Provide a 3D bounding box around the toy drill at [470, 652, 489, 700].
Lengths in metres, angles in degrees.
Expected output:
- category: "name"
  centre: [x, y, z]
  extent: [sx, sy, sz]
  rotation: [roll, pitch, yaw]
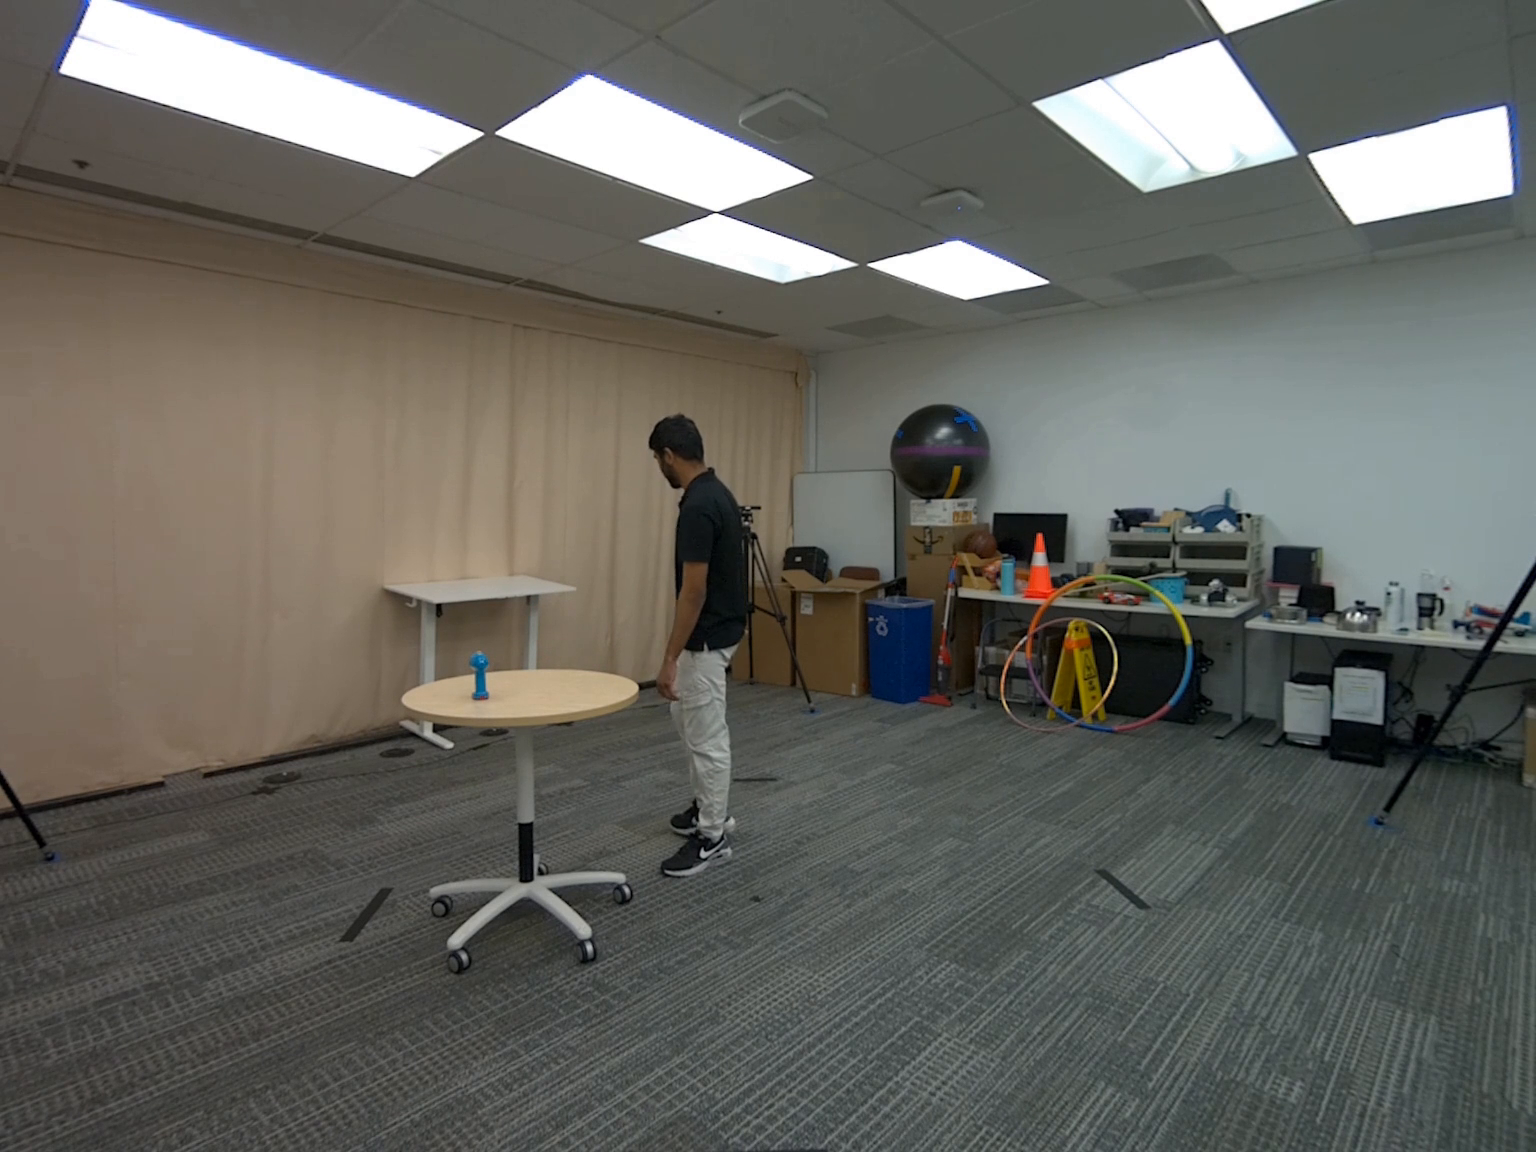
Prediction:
- category: "toy drill"
  centre: [-0.940, 0.317, 2.720]
  extent: [0.060, 0.146, 0.174]
  rotation: [-5, 4, -24]
